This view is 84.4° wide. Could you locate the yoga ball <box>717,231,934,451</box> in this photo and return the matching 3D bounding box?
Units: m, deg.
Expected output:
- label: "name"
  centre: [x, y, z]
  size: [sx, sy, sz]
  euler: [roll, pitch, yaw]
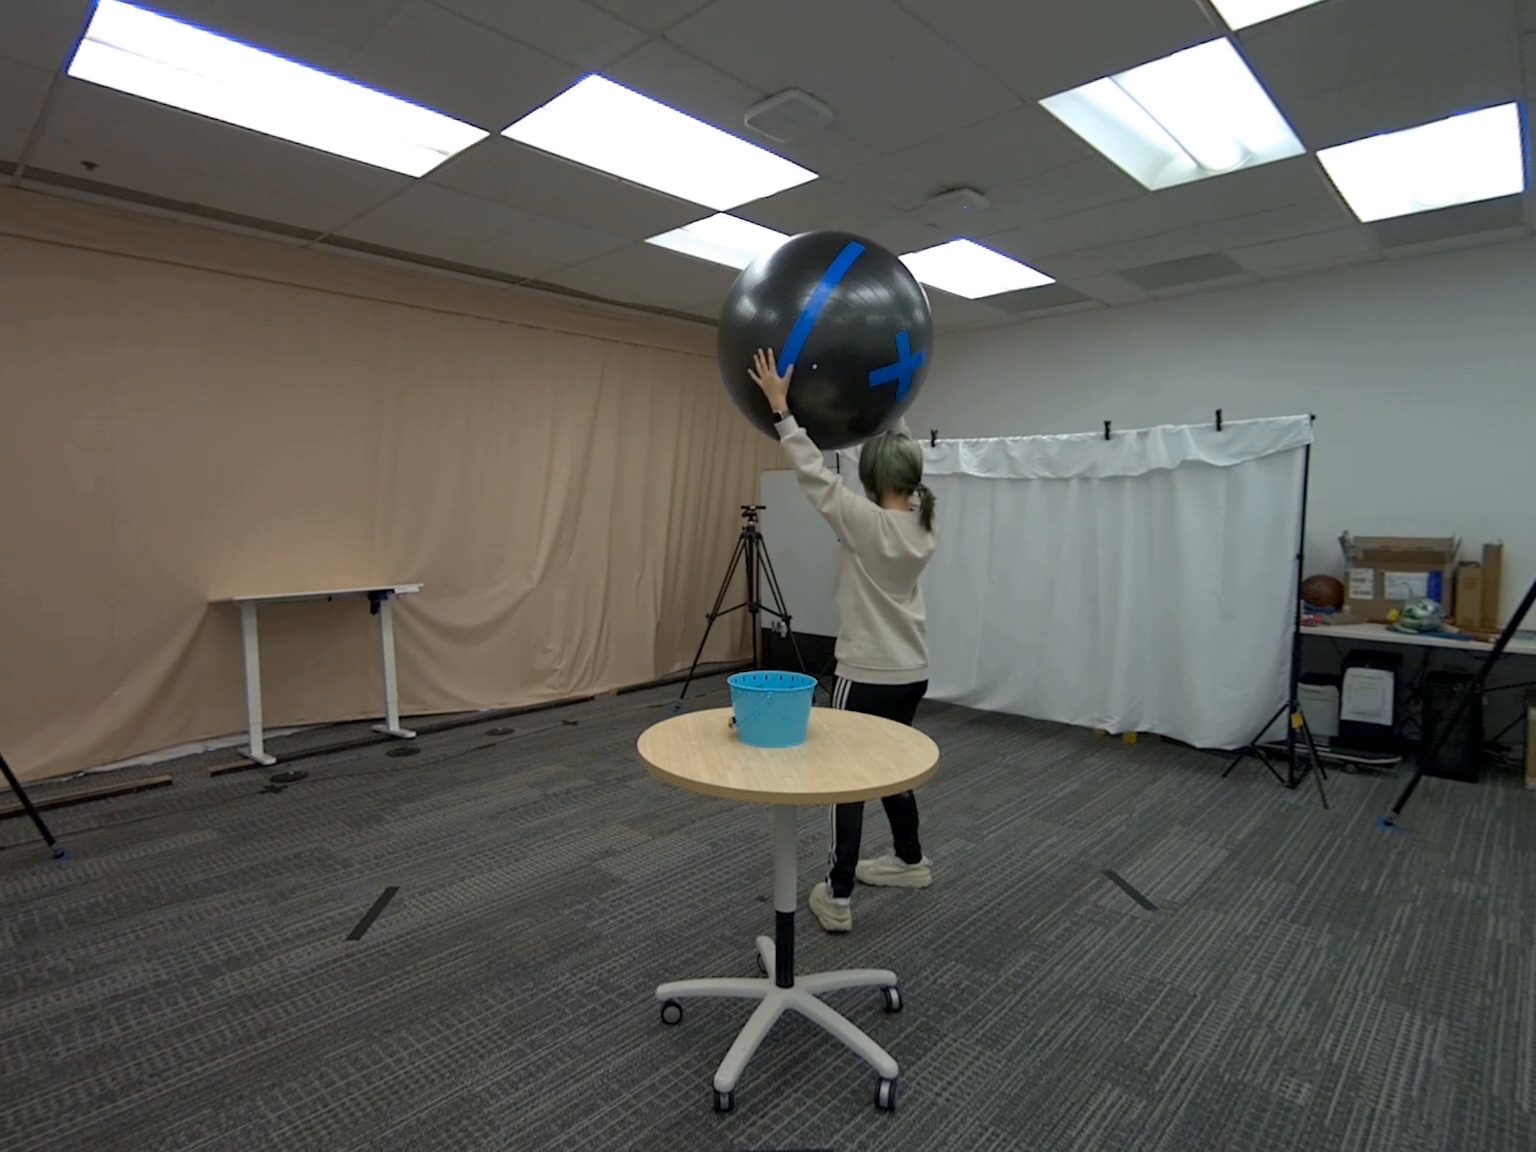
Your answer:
- label: "yoga ball"
  centre: [0.192, -0.820, 2.987]
  size: [0.757, 0.756, 0.761]
  euler: [0, 4, -2]
